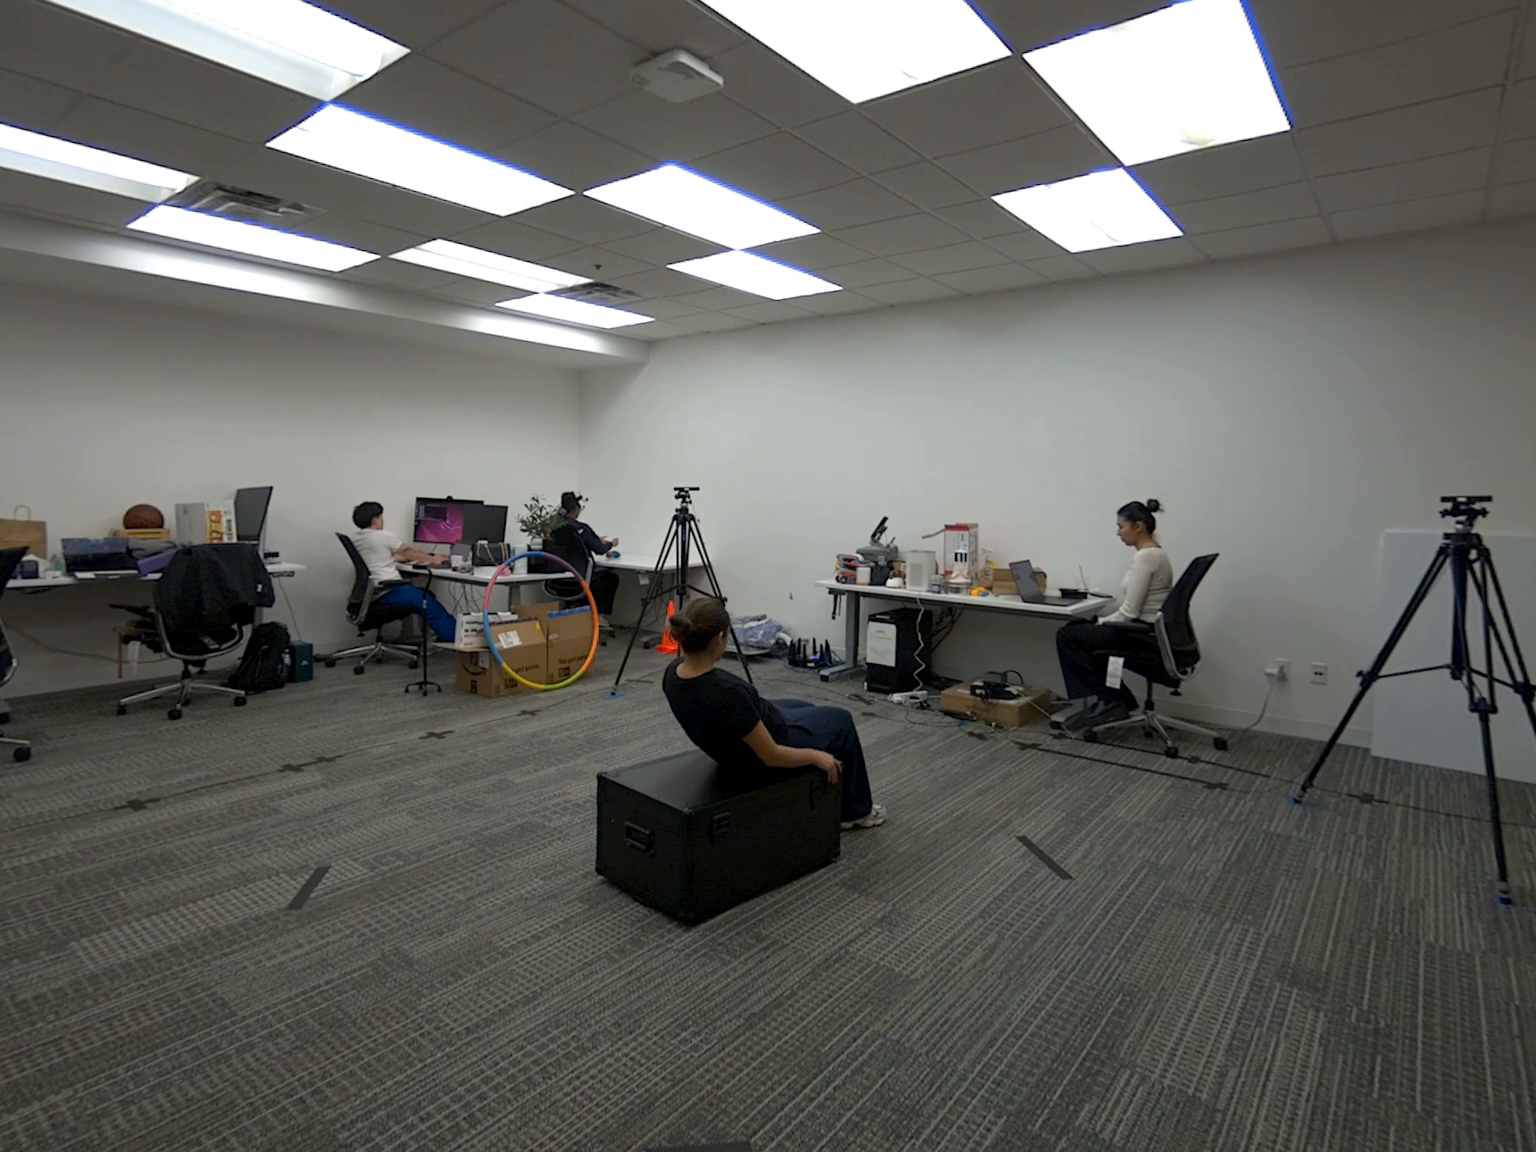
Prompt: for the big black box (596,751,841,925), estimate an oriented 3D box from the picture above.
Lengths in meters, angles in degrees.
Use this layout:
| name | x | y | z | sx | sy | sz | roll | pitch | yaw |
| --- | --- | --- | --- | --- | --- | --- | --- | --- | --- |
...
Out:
| name | x | y | z | sx | sy | sz | roll | pitch | yaw |
| --- | --- | --- | --- | --- | --- | --- | --- | --- | --- |
| big black box | -0.176 | 0.880 | 3.080 | 0.835 | 0.395 | 0.539 | -2 | 5 | -44 |
